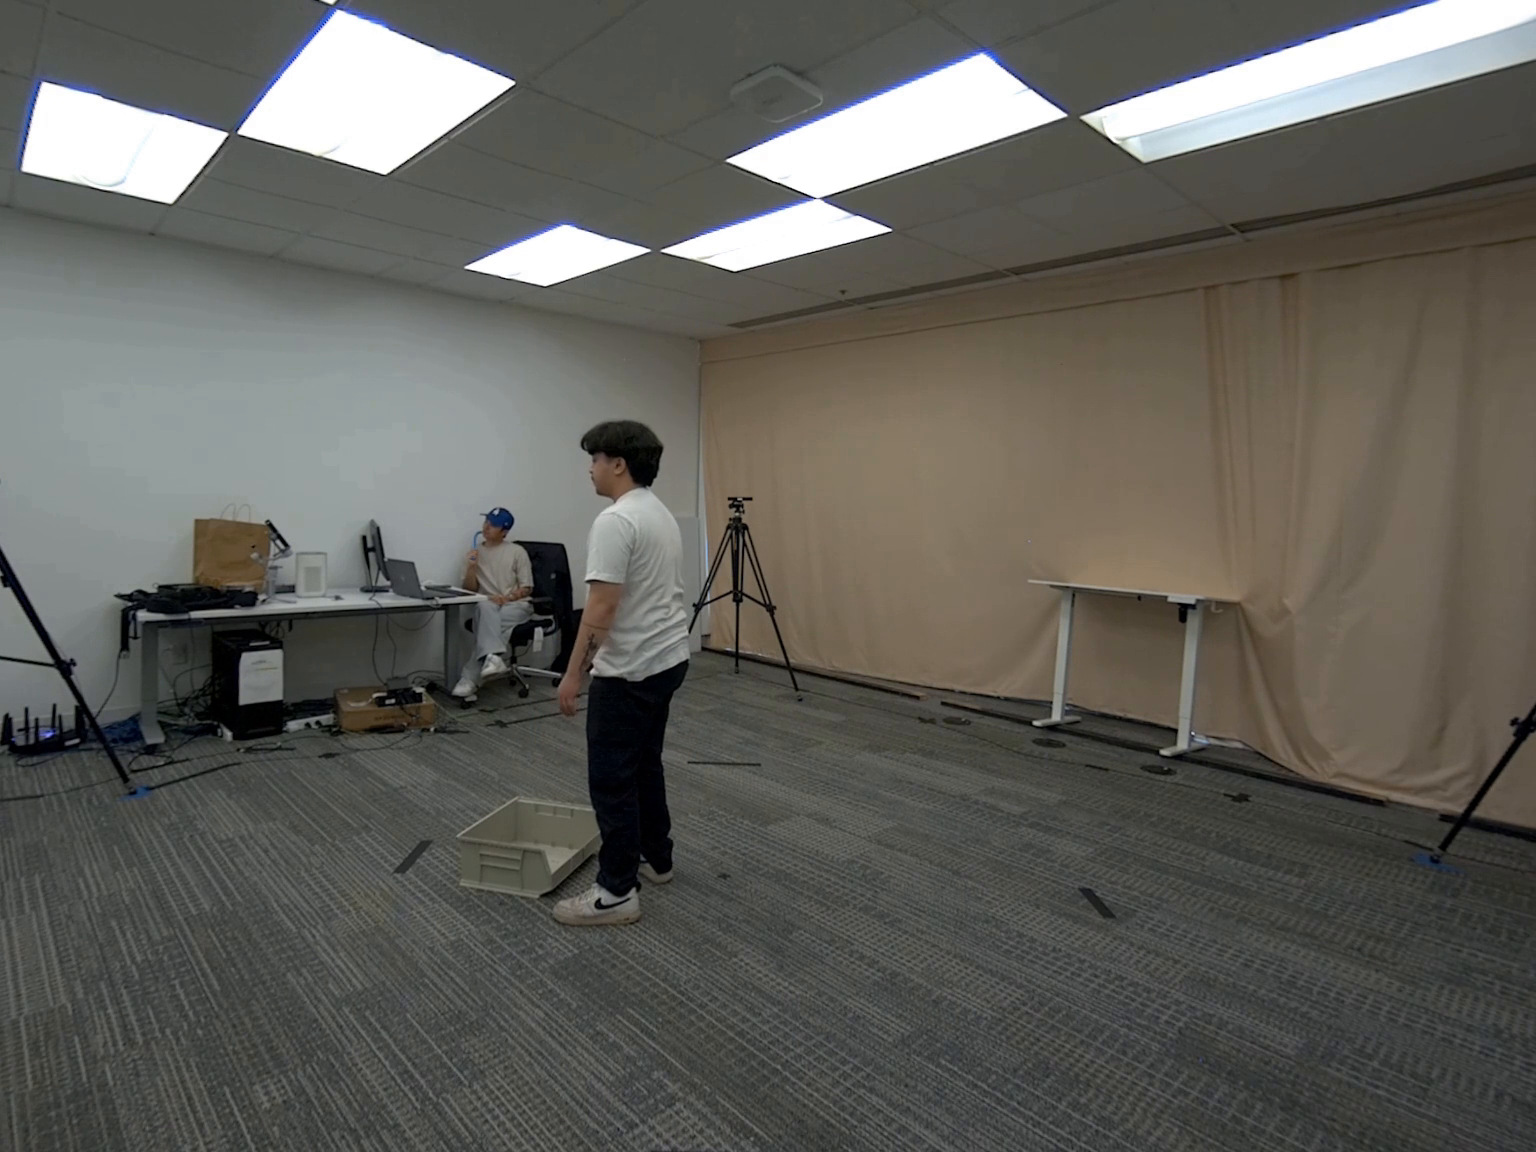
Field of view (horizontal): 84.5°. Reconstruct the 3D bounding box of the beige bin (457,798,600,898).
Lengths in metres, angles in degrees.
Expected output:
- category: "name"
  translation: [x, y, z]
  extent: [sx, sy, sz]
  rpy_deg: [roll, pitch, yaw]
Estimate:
- category: "beige bin"
  translation: [-0.878, 1.000, 3.125]
  extent: [0.382, 0.188, 0.419]
  rpy_deg: [2, 6, 14]
